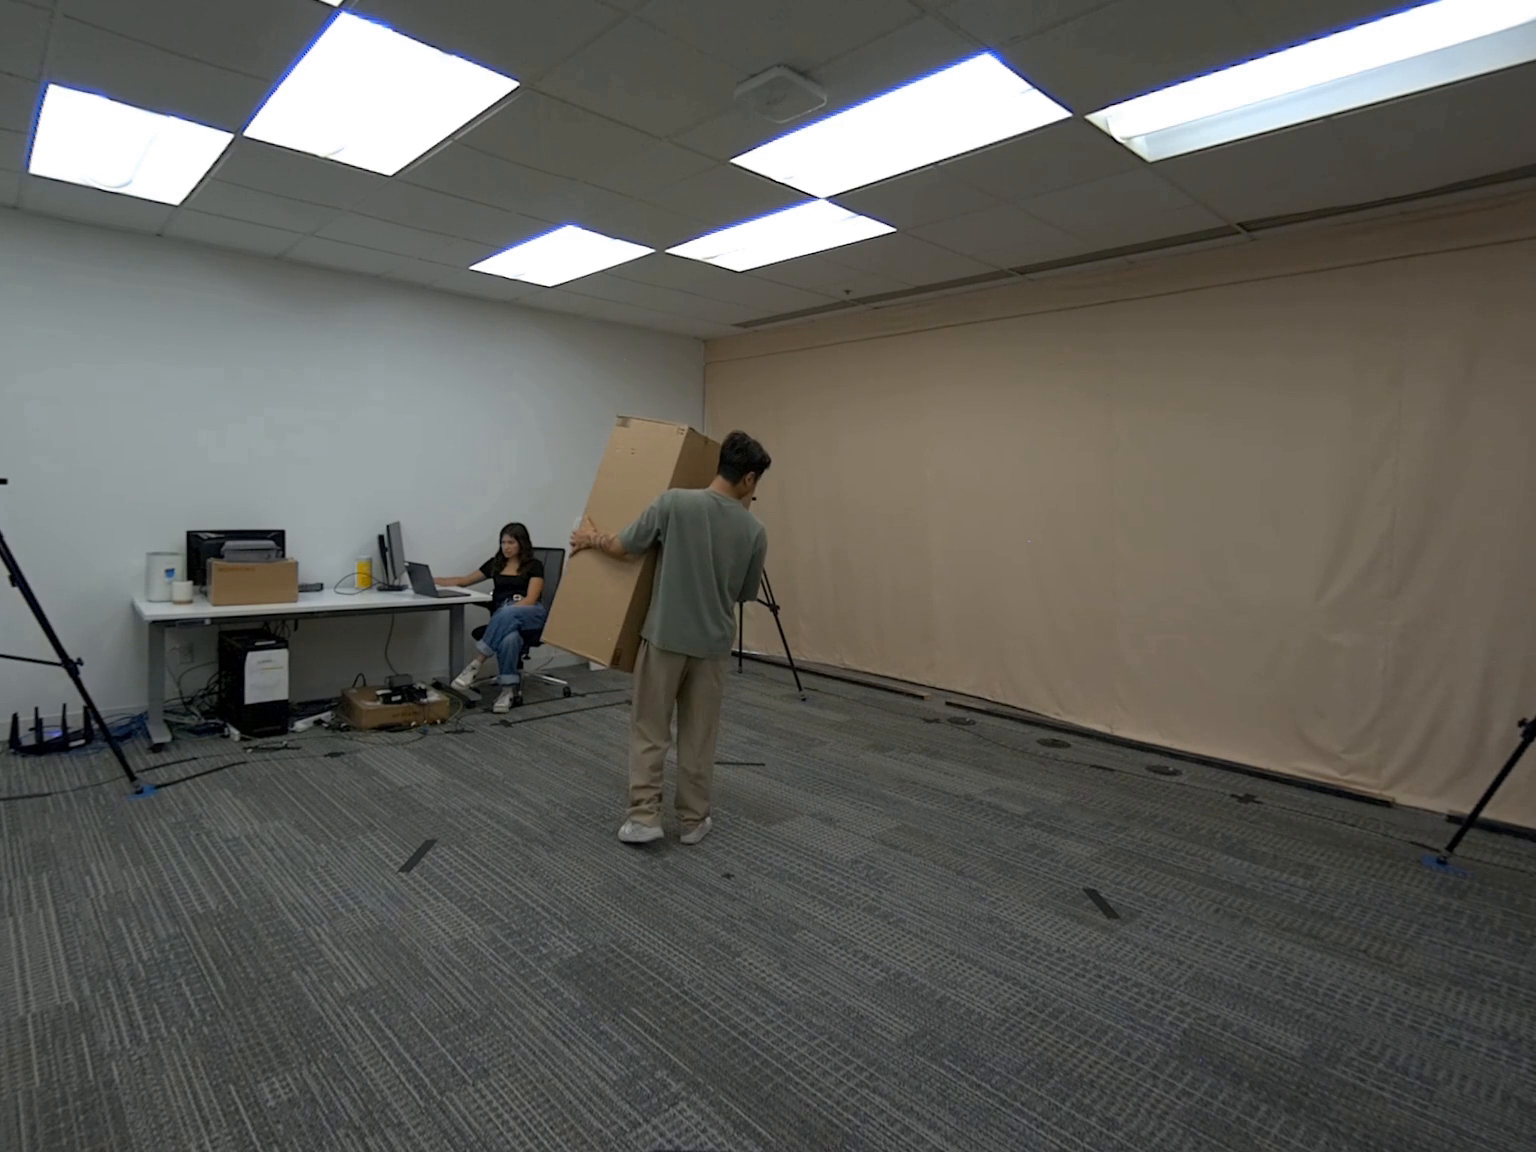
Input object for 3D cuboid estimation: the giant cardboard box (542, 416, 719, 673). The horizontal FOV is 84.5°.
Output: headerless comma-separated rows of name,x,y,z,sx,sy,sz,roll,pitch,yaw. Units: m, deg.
giant cardboard box,-0.500,-0.099,3.689,0.438,1.028,0.560,14,-6,35
